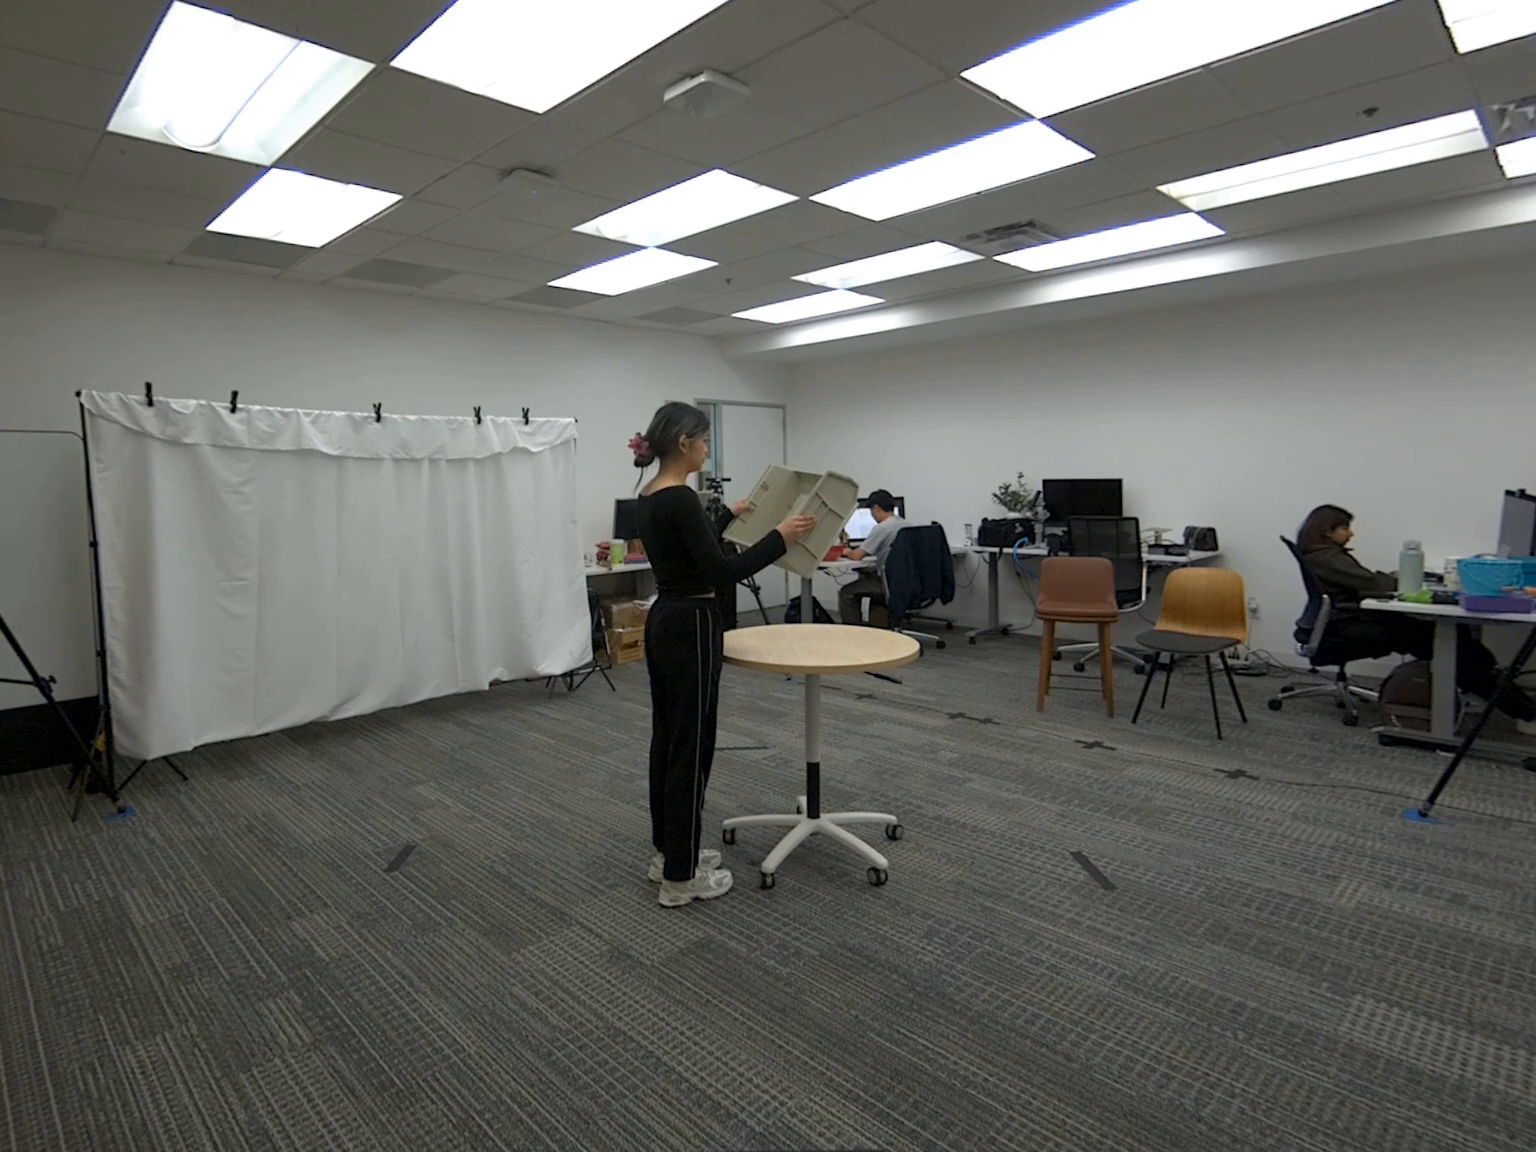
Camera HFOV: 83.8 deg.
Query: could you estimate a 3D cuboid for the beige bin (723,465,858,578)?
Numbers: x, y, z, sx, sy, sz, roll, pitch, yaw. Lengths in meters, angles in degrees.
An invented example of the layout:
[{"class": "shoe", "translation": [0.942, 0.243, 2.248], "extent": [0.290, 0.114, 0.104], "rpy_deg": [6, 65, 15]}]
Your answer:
[{"class": "beige bin", "translation": [0.089, -0.216, 3.061], "extent": [0.183, 0.378, 0.435], "rpy_deg": [37, -7, -27]}]
